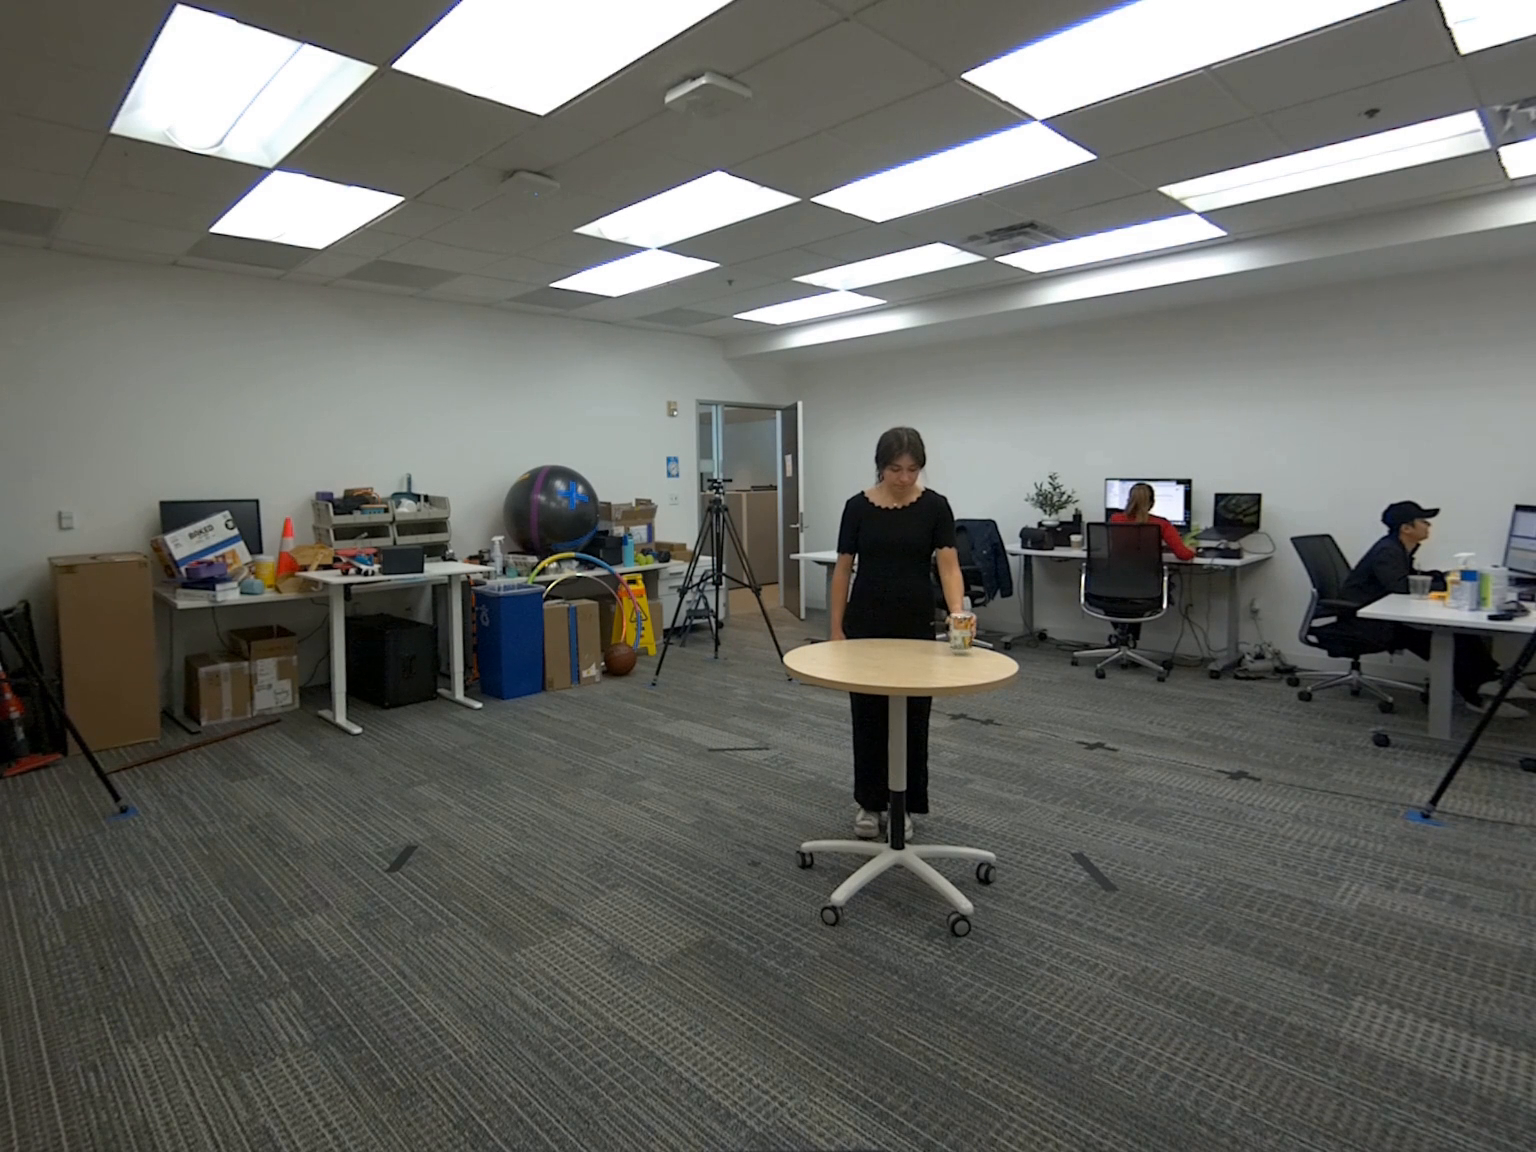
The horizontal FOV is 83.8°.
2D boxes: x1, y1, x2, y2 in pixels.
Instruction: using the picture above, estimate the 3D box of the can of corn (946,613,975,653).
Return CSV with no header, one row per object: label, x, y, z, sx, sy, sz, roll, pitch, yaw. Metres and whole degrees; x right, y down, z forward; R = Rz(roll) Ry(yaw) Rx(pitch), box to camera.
can of corn,0.648,0.190,2.934,0.074,0.110,0.074,-2,4,-1
